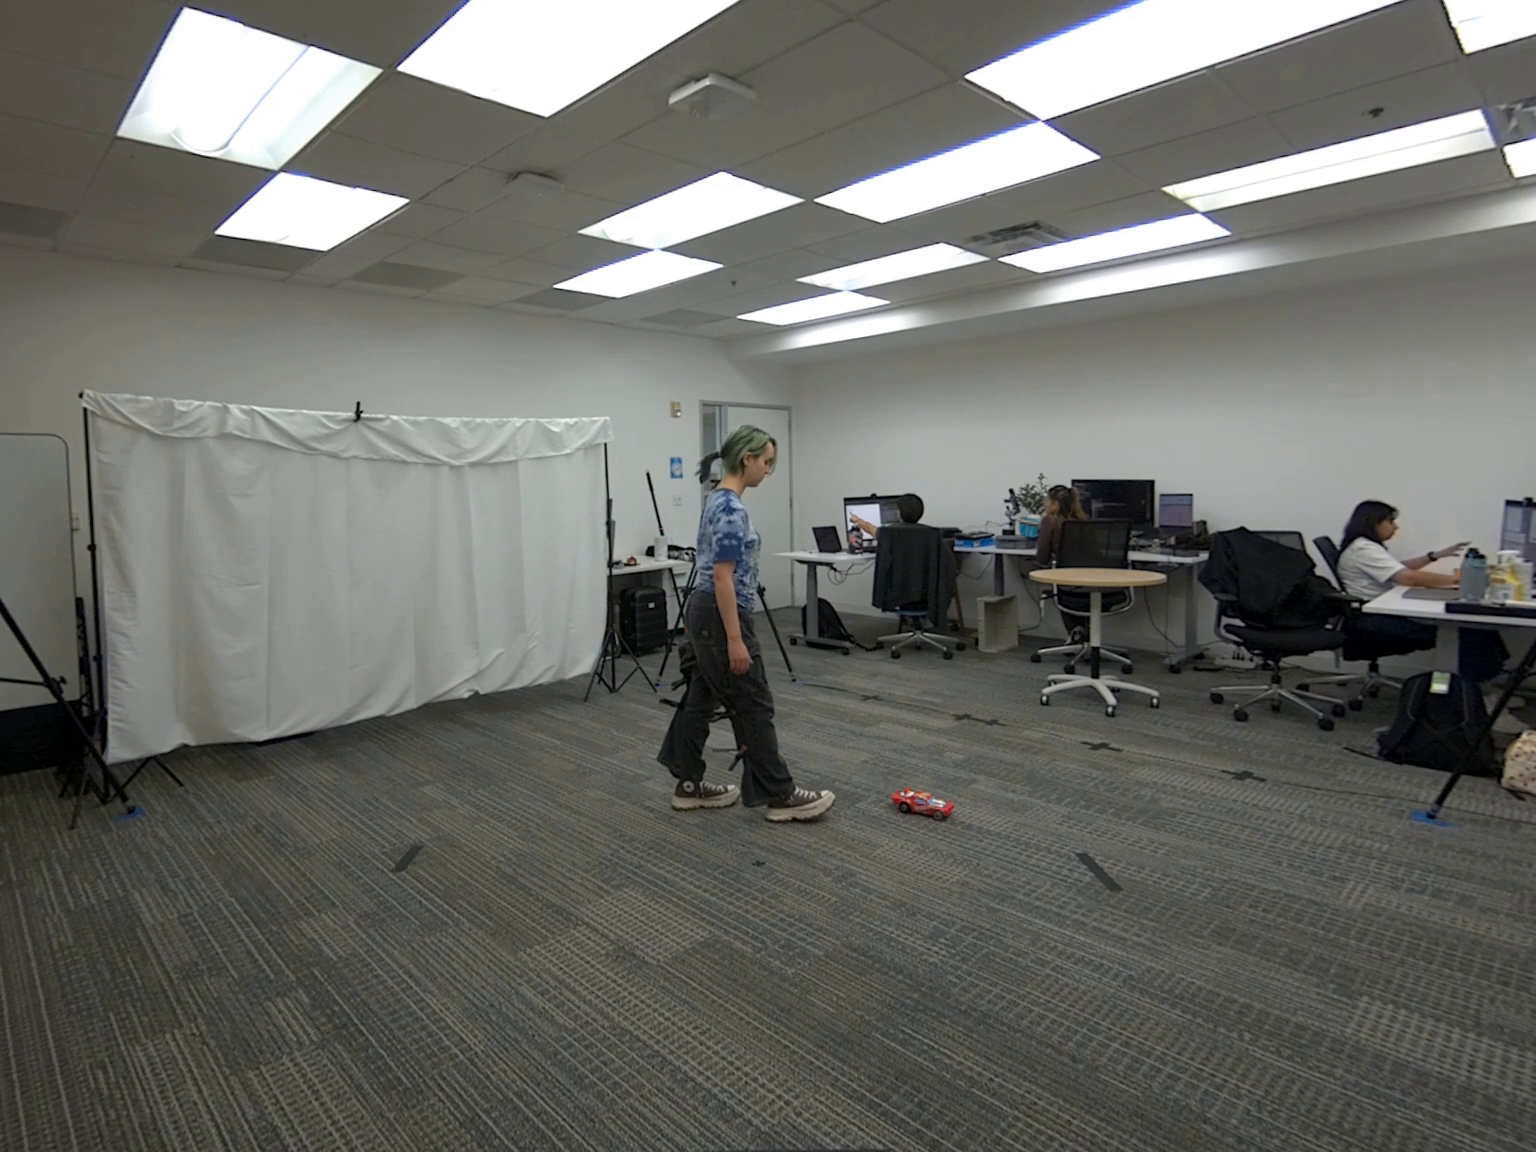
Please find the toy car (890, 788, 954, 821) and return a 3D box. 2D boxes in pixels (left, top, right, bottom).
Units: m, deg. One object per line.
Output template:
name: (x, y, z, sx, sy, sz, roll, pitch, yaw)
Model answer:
toy car: (0.637, 0.947, 3.561, 0.263, 0.082, 0.127, 16, 14, 32)
